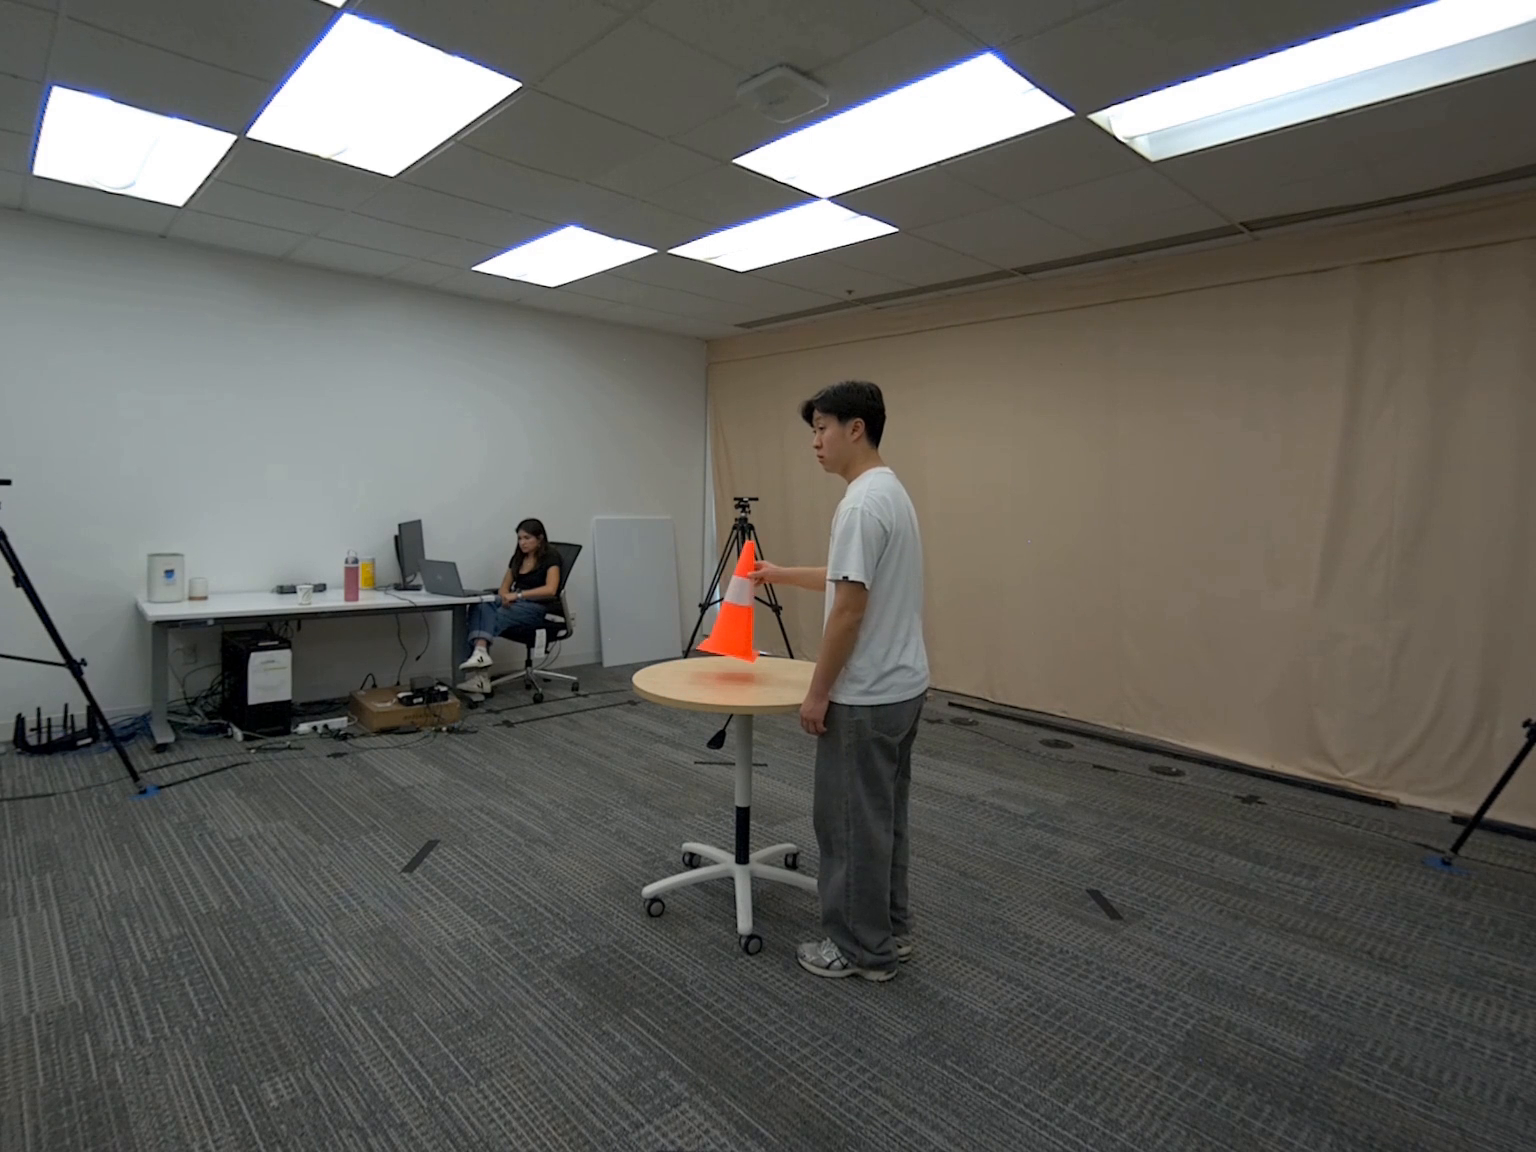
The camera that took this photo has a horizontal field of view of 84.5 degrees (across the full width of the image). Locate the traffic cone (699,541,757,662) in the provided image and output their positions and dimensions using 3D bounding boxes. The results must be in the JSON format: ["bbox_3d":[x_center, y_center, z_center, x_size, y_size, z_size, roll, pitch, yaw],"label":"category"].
[{"bbox_3d":[-0.097,0.083,2.847,0.205,0.383,0.203,11,3,10],"label":"traffic cone"}]
